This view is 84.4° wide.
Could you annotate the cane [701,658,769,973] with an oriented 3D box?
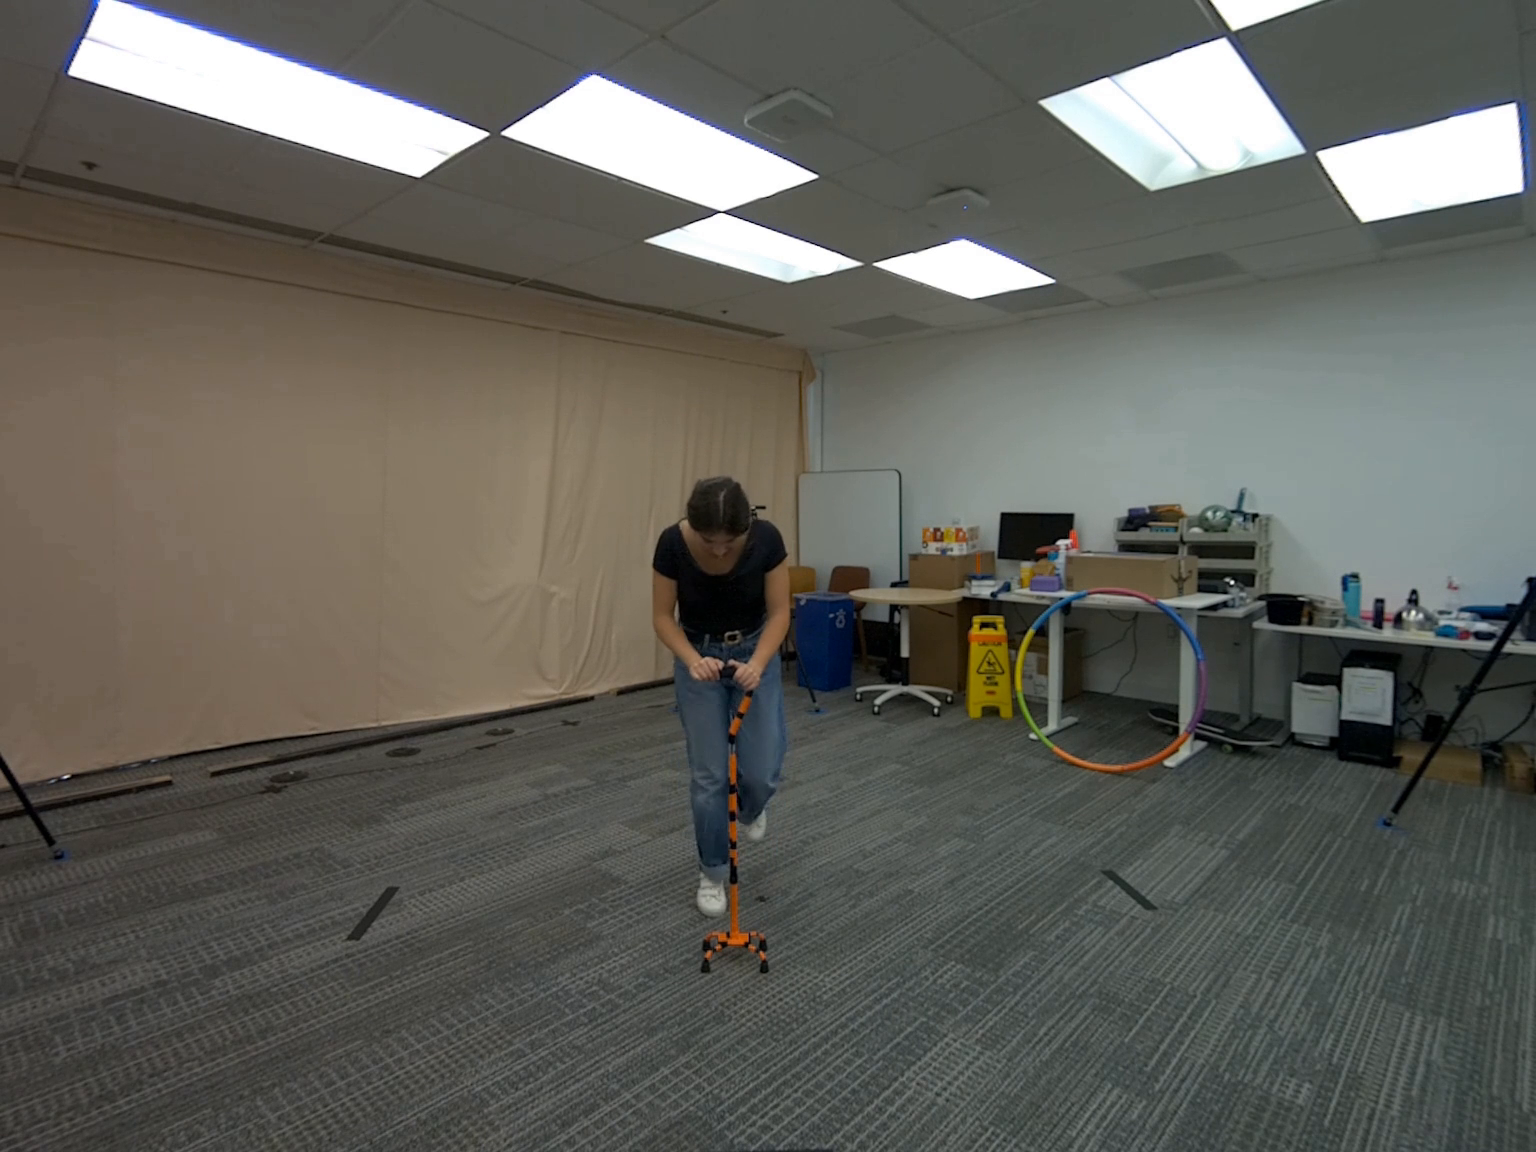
[{"bbox_3d":[-0.101,0.719,2.546,0.207,0.905,0.152,0,4,0],"label":"cane"}]
